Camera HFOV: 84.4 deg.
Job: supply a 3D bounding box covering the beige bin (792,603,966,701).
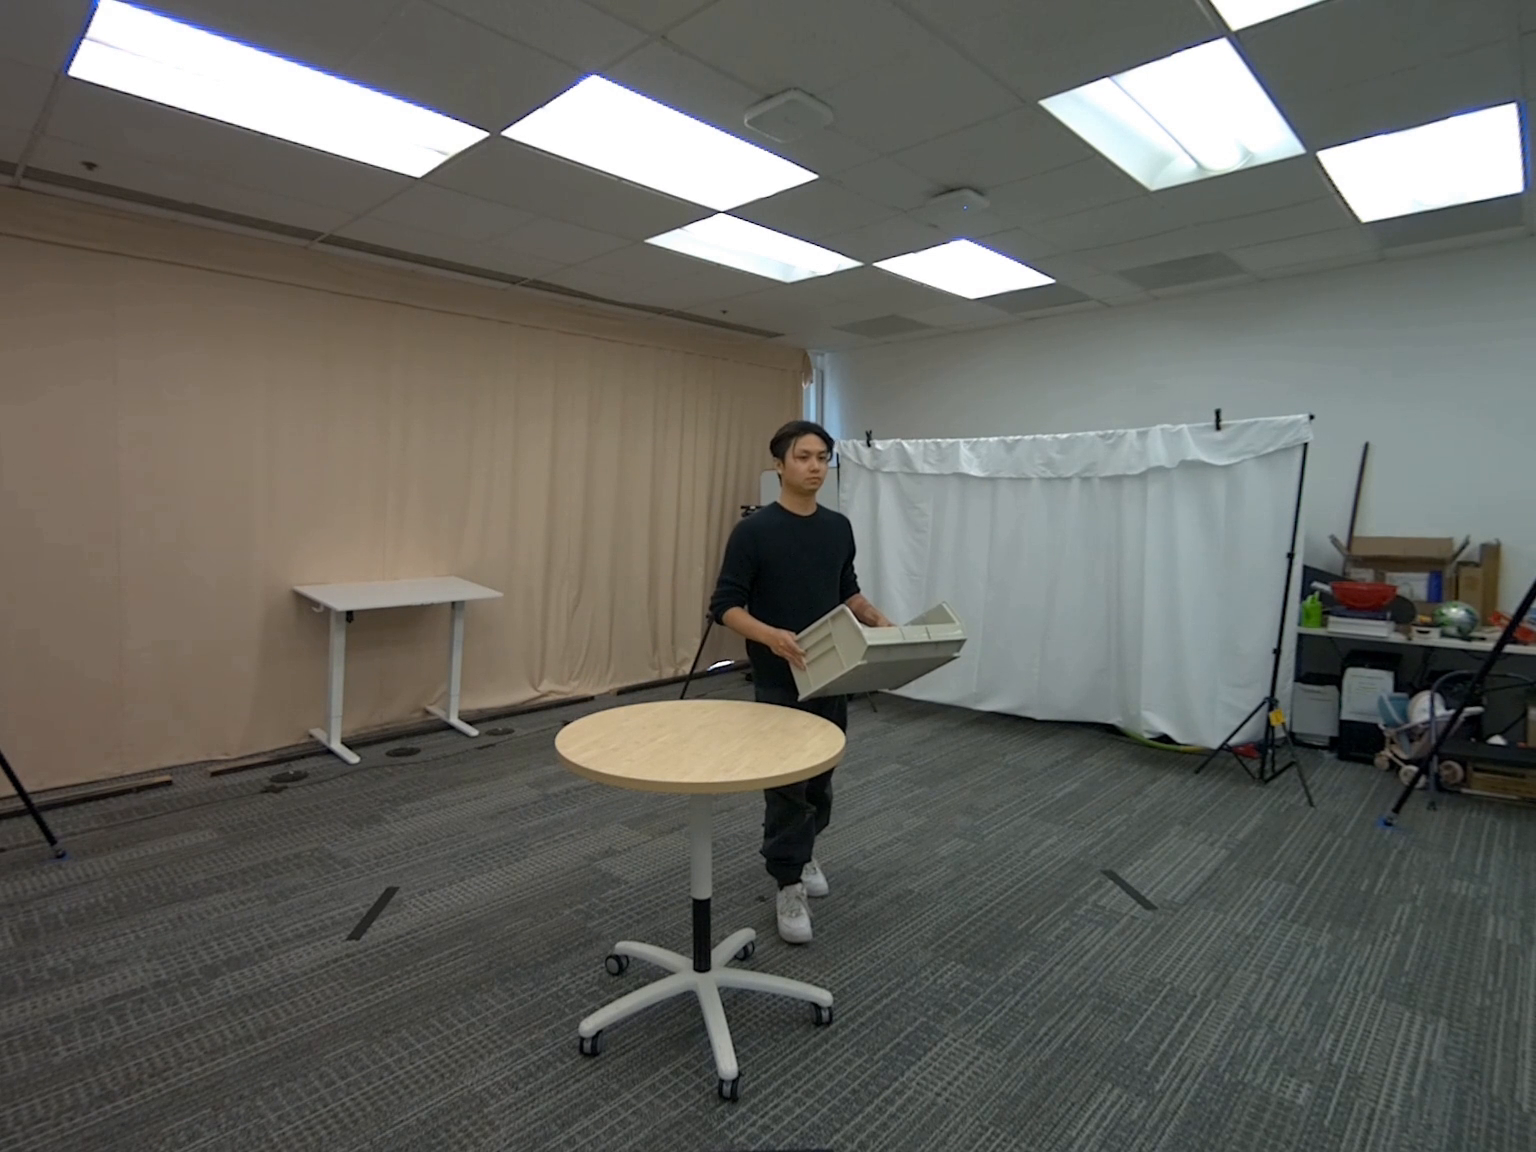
[{"bbox_3d":[0.325,0.224,2.585,0.410,0.192,0.381,-1,-26,-35],"label":"beige bin"}]
